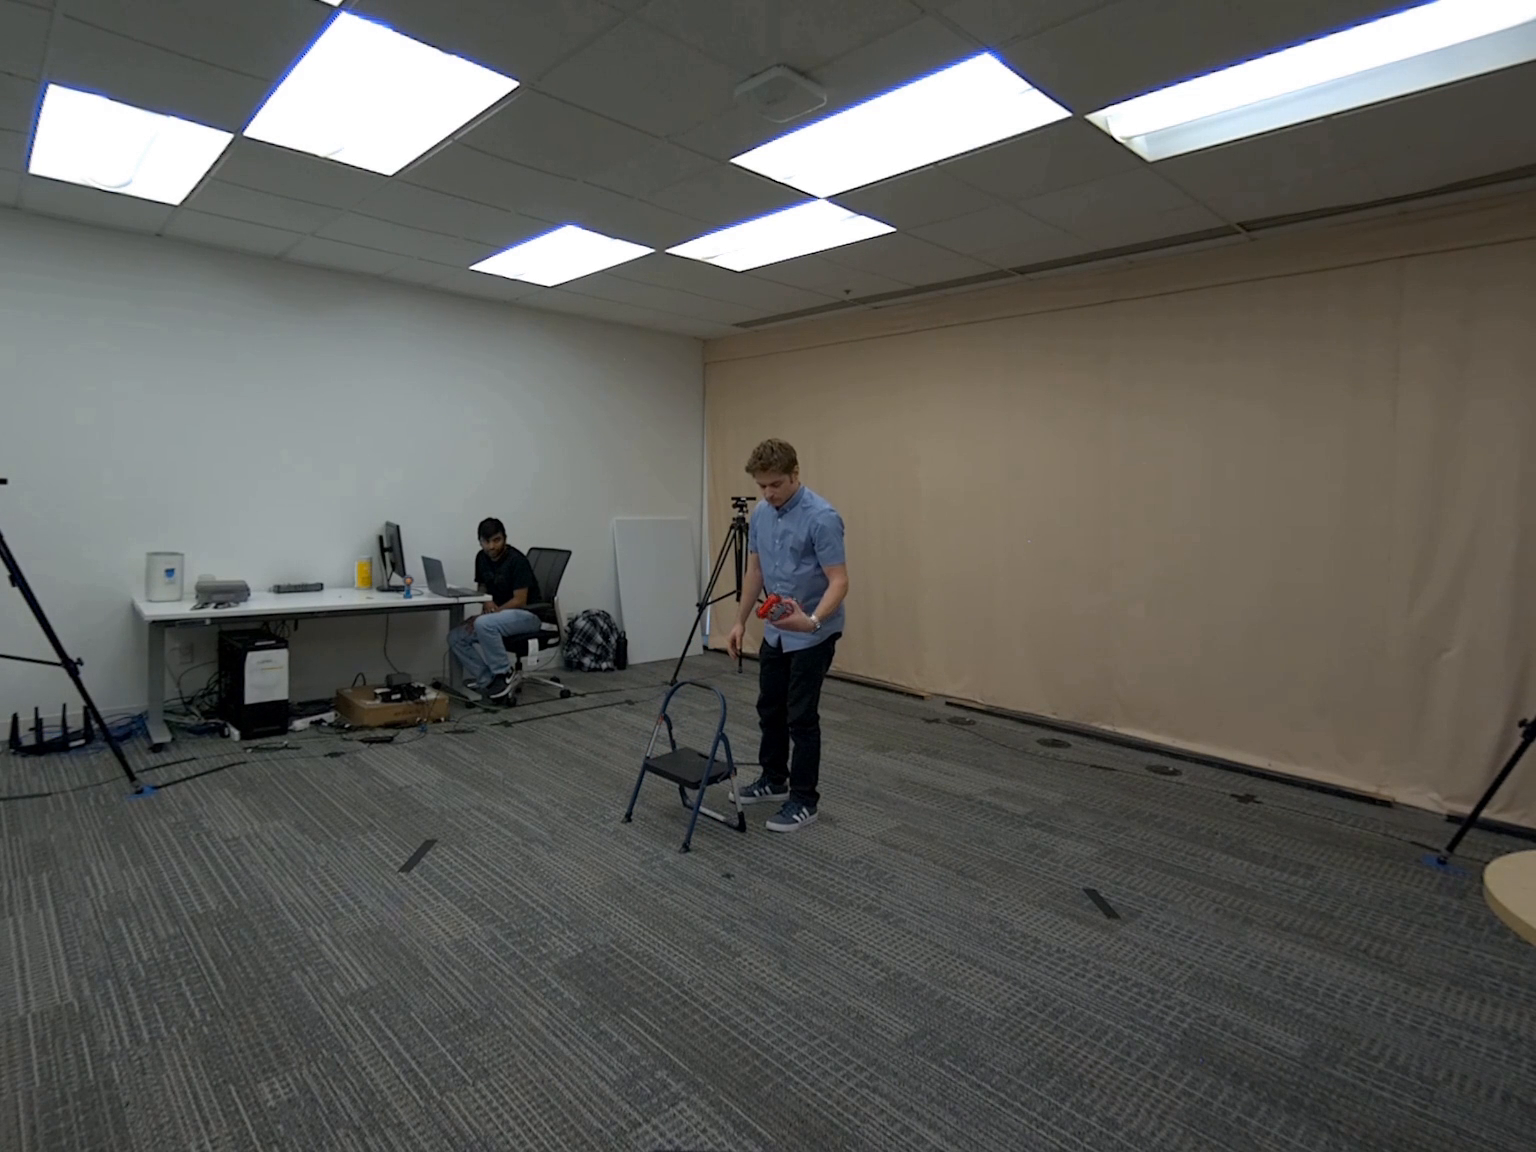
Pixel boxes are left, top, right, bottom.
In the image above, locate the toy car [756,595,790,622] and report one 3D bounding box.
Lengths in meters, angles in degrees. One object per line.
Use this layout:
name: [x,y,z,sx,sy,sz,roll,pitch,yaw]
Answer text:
toy car: [0.040,0.143,3.282,0.247,0.130,0.086,28,17,-49]
